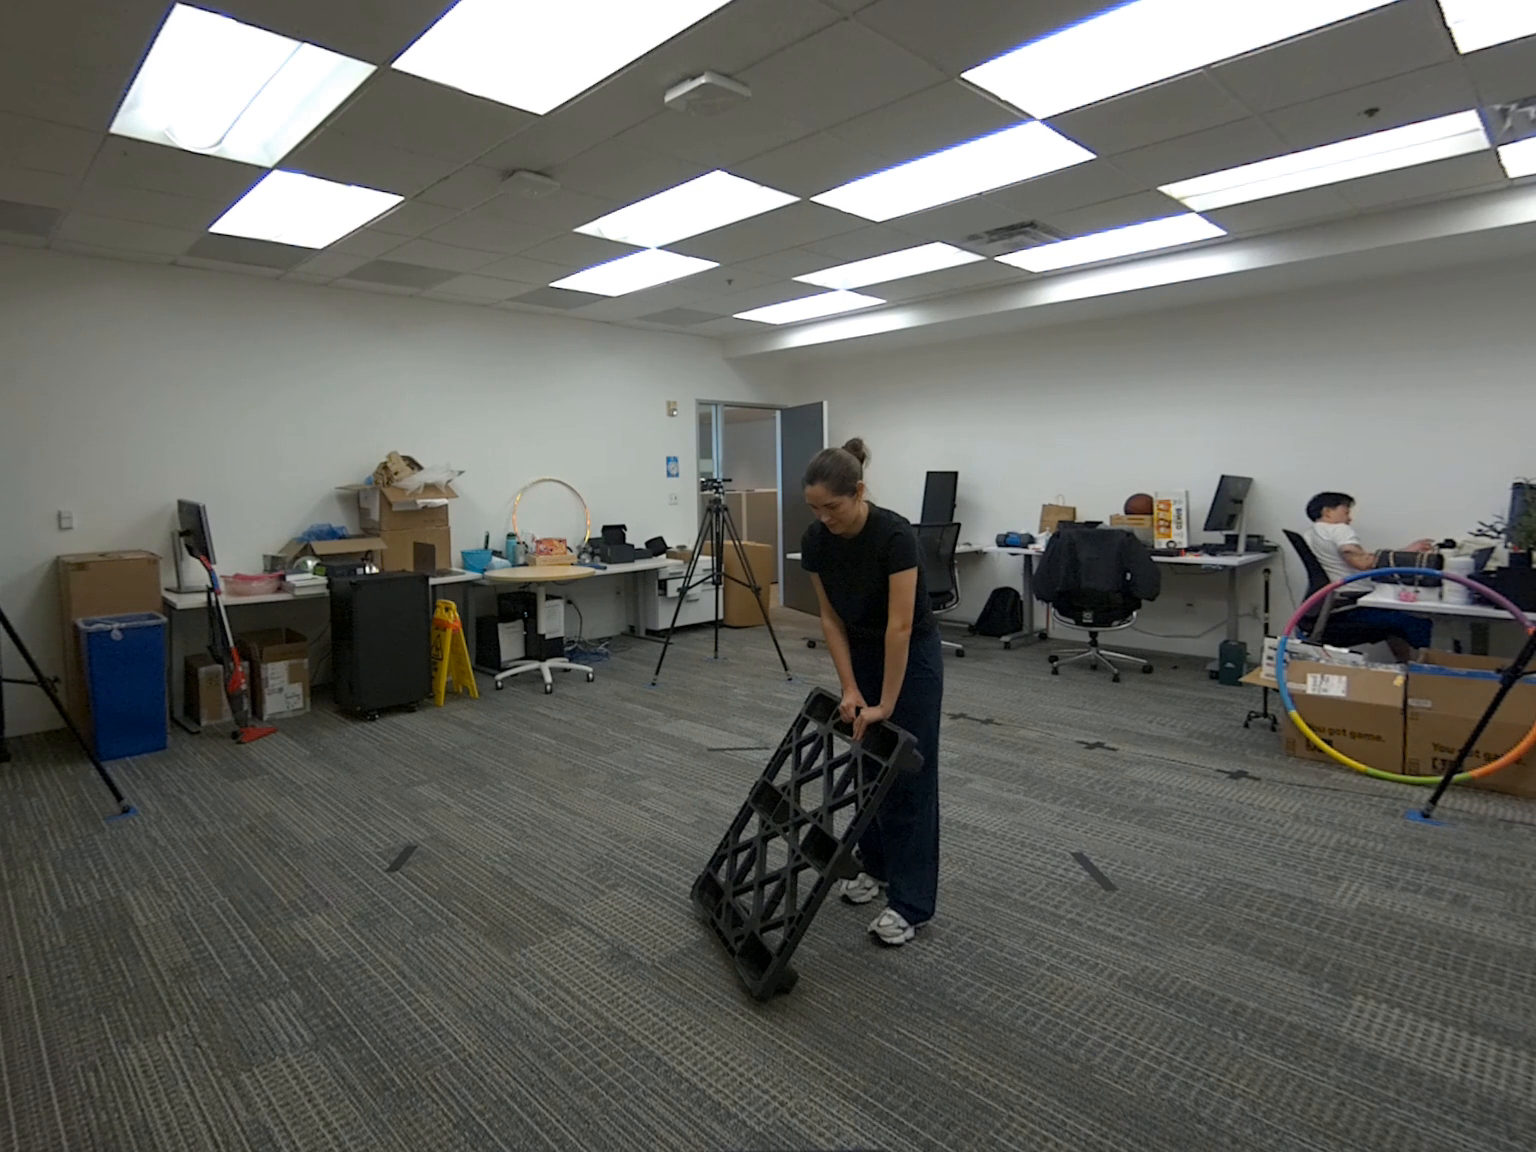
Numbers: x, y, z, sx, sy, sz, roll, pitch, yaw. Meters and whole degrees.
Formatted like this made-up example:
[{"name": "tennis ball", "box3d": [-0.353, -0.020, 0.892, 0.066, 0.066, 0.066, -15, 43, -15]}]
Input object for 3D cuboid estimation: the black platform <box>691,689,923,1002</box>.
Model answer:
[{"name": "black platform", "box3d": [0.109, 0.769, 2.582, 0.140, 0.807, 0.619, 35, -7, -21]}]
